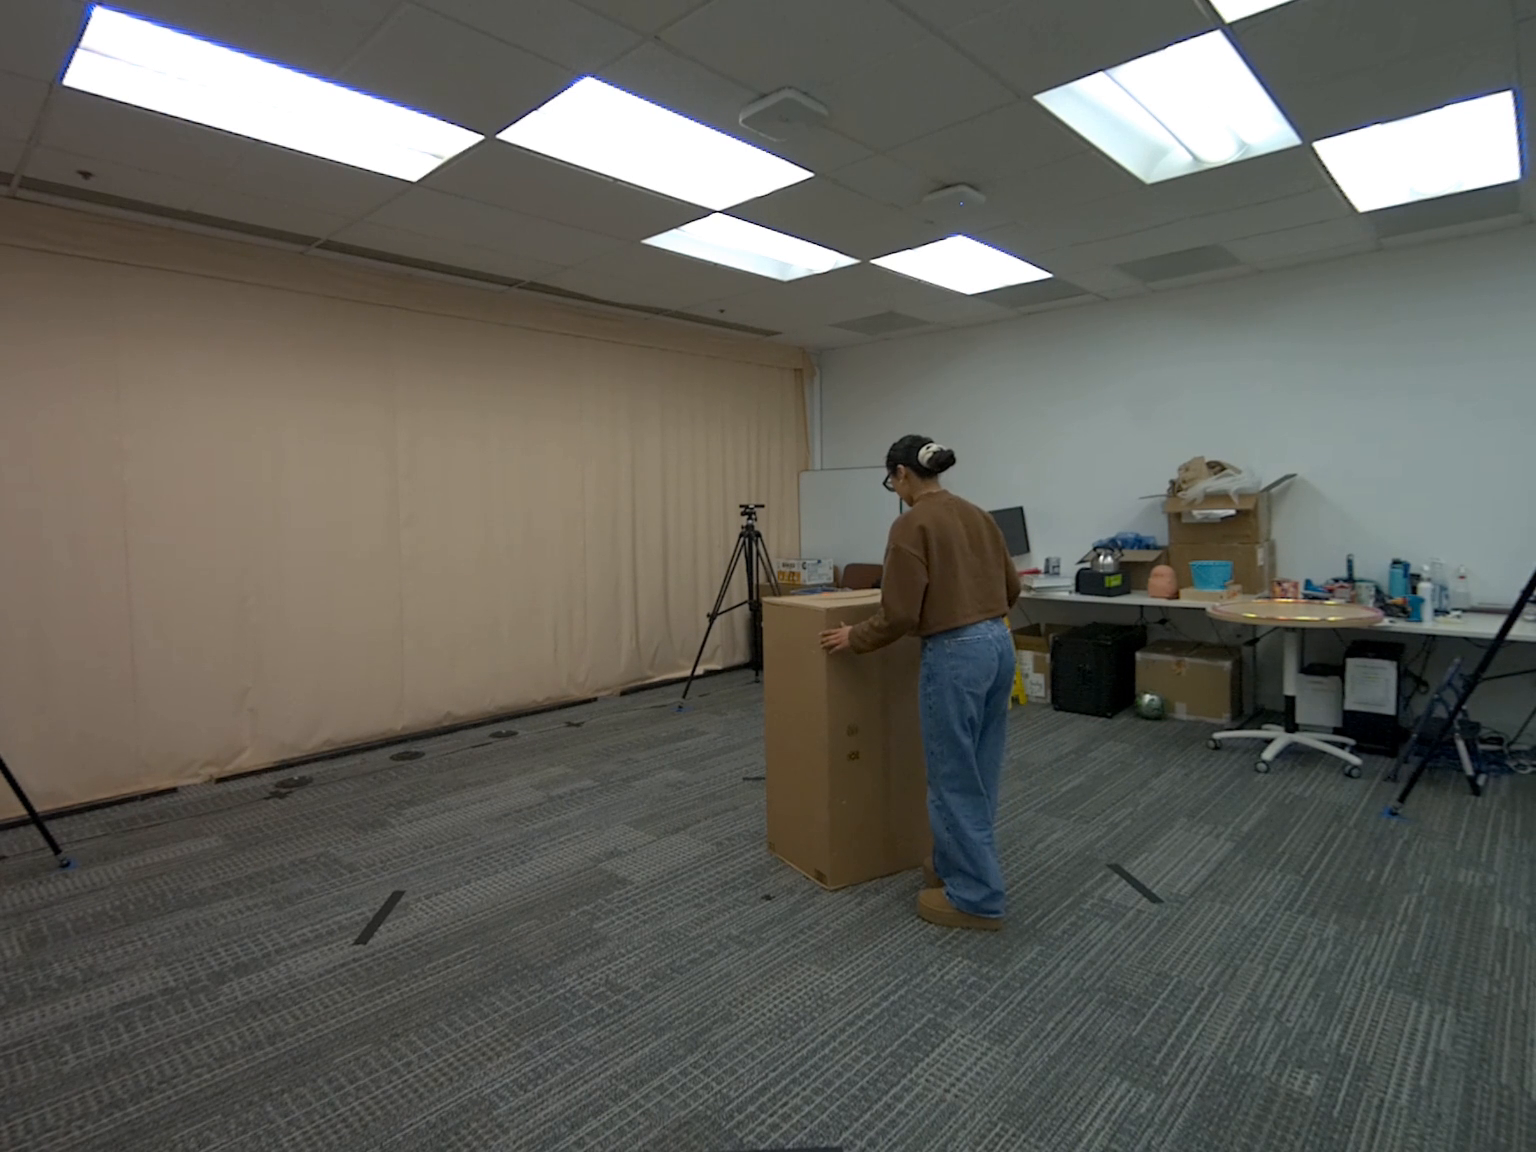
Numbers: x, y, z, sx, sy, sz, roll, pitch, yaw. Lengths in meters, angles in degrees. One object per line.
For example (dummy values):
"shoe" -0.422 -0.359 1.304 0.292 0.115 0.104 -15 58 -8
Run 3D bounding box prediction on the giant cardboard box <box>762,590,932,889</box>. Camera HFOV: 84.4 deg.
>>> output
"giant cardboard box" 0.336 0.594 3.315 0.562 1.023 0.439 -4 4 -31
